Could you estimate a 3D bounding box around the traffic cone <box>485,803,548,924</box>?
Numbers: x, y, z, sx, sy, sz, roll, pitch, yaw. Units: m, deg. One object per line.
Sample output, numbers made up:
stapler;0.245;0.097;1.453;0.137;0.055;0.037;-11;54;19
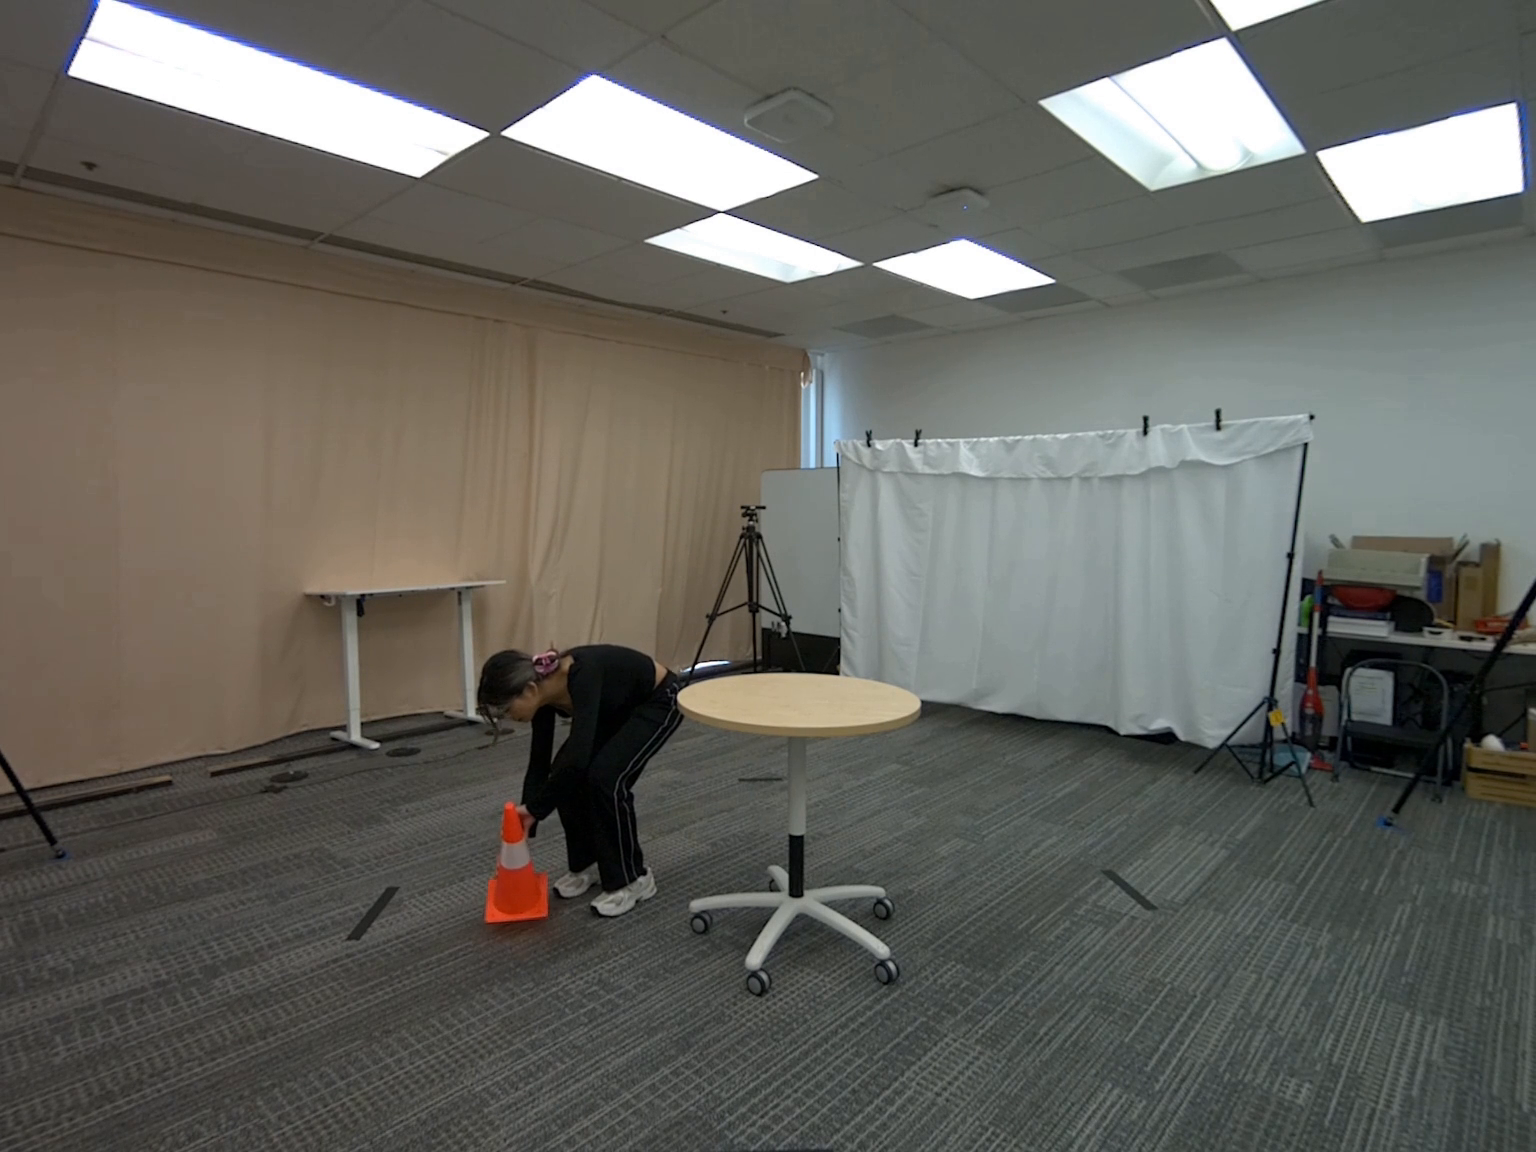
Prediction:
traffic cone;-0.826;0.903;2.732;0.203;0.379;0.208;1;23;-11
